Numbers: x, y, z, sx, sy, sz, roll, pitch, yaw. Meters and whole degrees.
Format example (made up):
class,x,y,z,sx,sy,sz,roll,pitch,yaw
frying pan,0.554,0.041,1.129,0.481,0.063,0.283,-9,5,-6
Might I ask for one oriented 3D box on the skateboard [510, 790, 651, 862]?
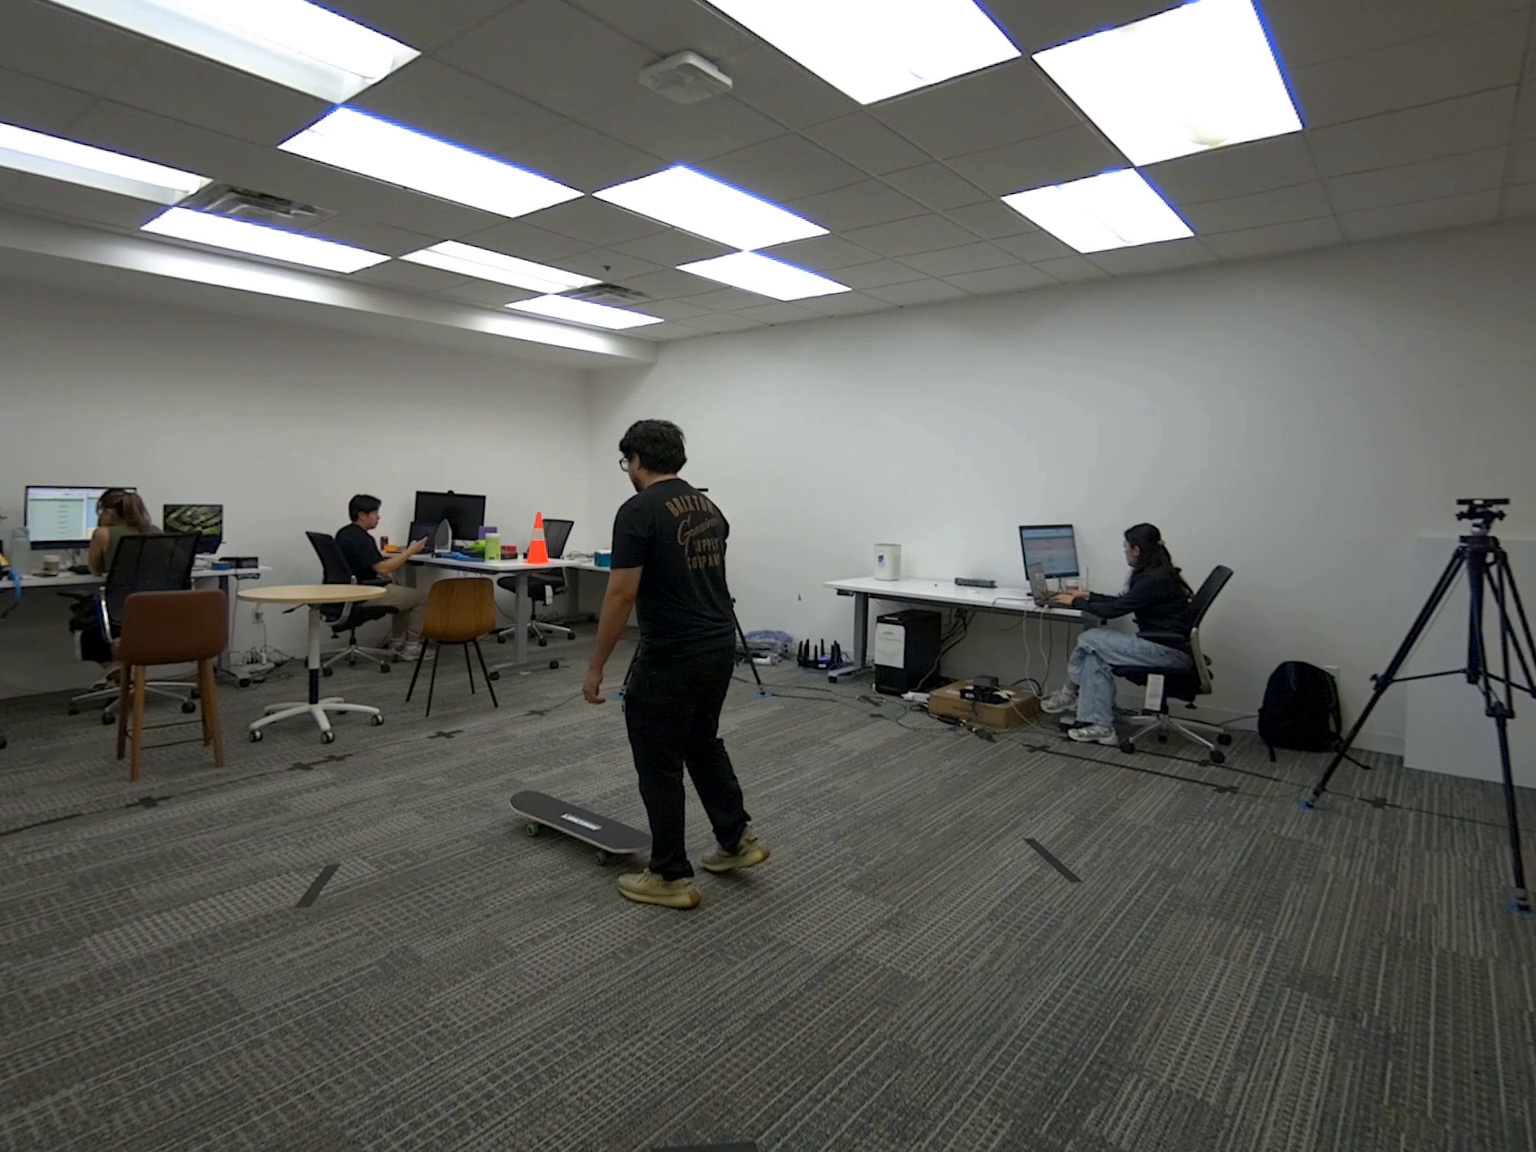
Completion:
class,x,y,z,sx,sy,sz,roll,pitch,yaw
skateboard,-0.742,0.985,3.309,0.812,0.110,0.188,5,6,38
